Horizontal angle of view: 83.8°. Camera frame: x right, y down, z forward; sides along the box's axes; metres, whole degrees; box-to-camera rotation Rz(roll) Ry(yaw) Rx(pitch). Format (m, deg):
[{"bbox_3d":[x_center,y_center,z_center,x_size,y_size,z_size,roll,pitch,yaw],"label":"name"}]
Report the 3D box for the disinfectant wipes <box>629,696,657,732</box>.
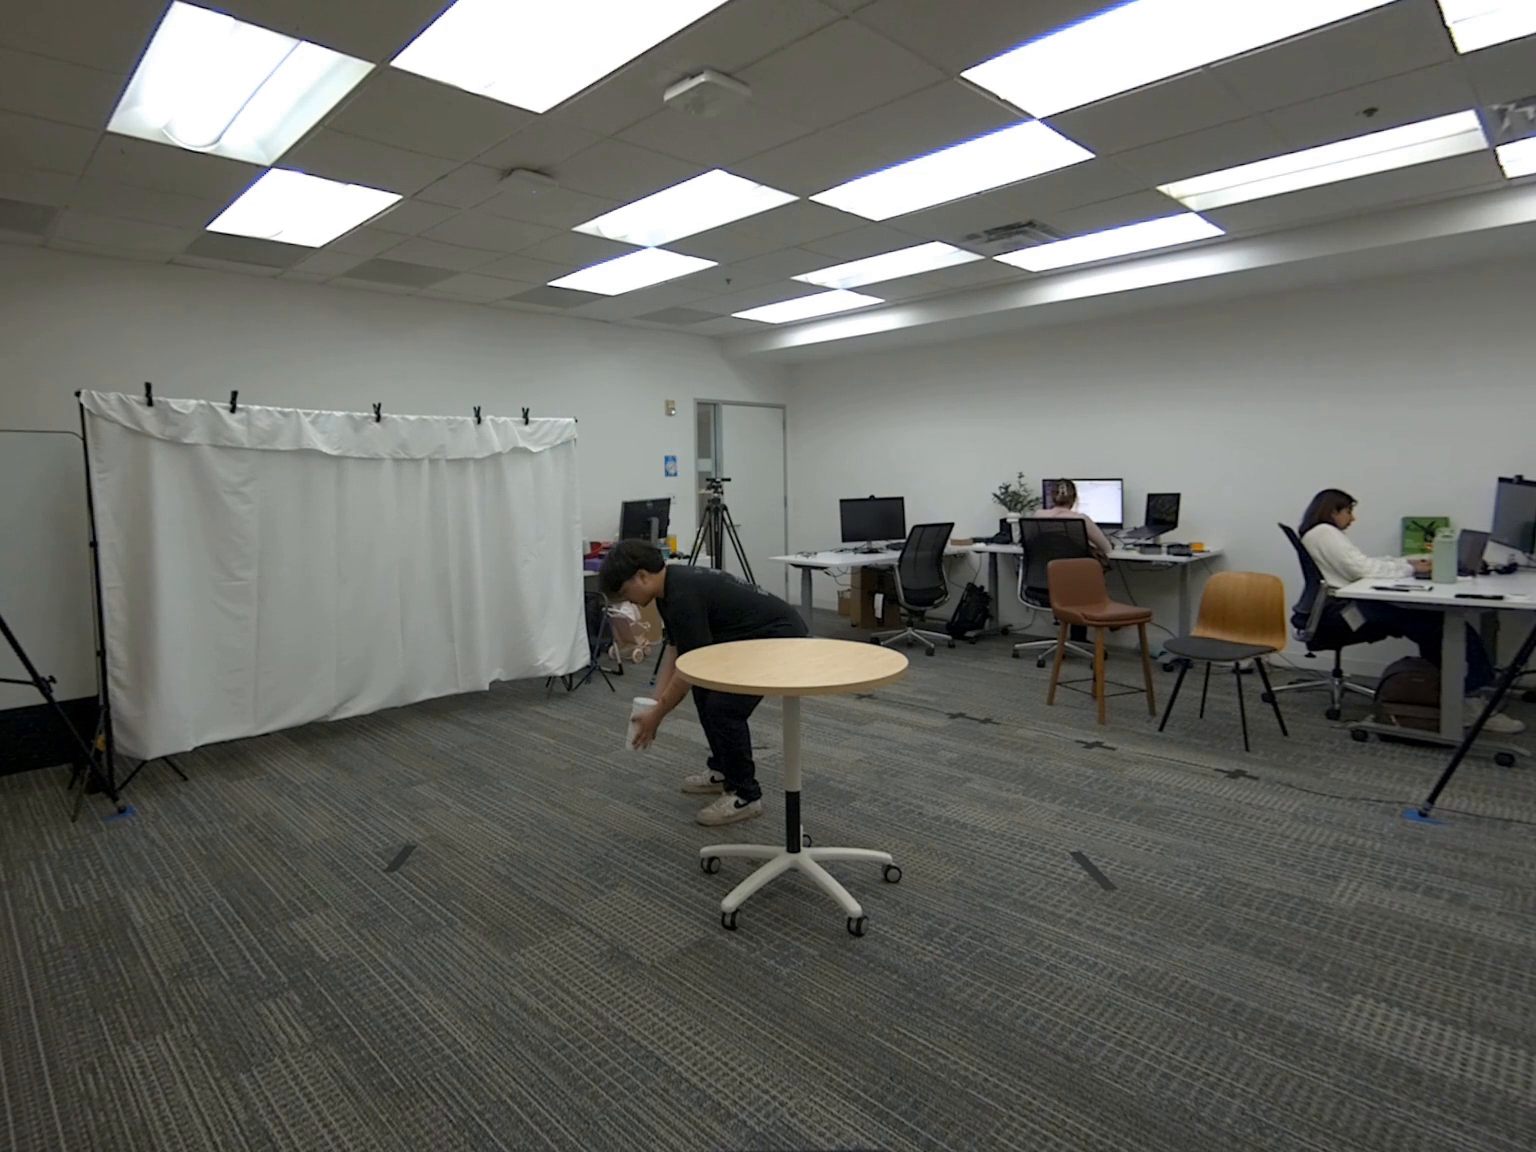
[{"bbox_3d":[-0.527,0.617,3.581,0.117,0.217,0.118,11,4,-3],"label":"disinfectant wipes"}]
